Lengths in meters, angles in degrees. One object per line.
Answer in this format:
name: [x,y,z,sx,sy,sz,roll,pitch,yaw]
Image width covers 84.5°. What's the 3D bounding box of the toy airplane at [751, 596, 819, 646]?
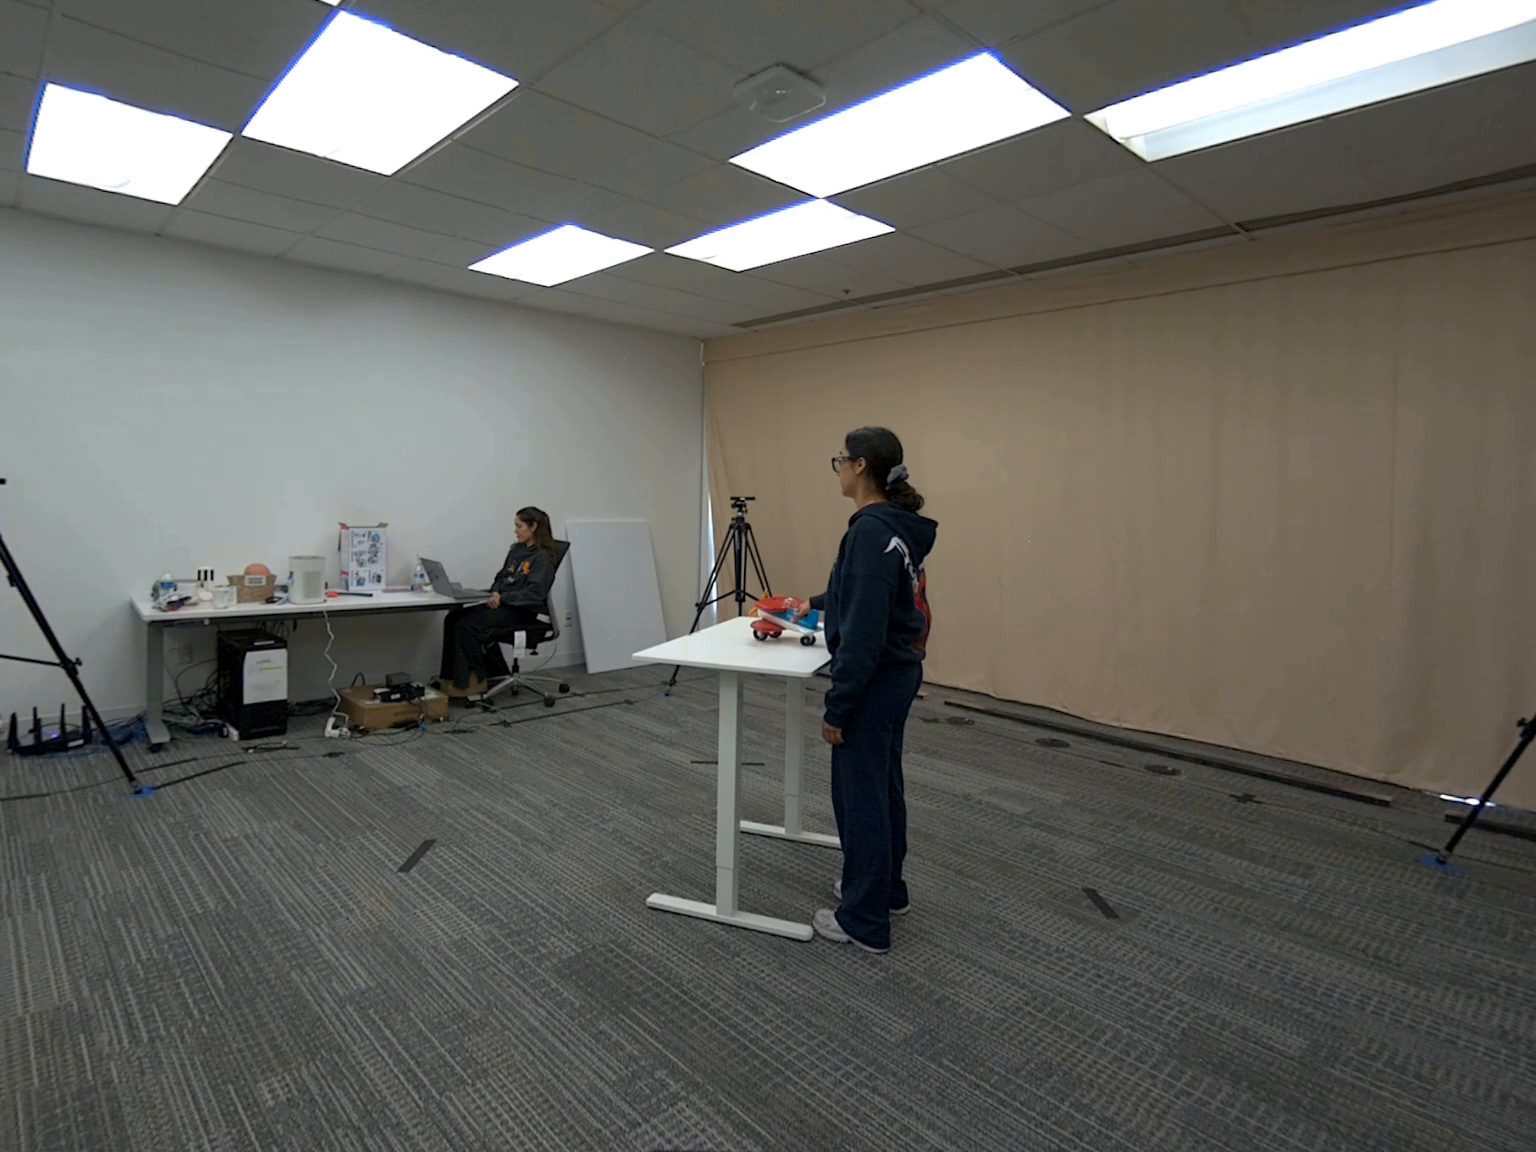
toy airplane: [0.070,0.161,3.043,0.261,0.156,0.250,1,5,9]
